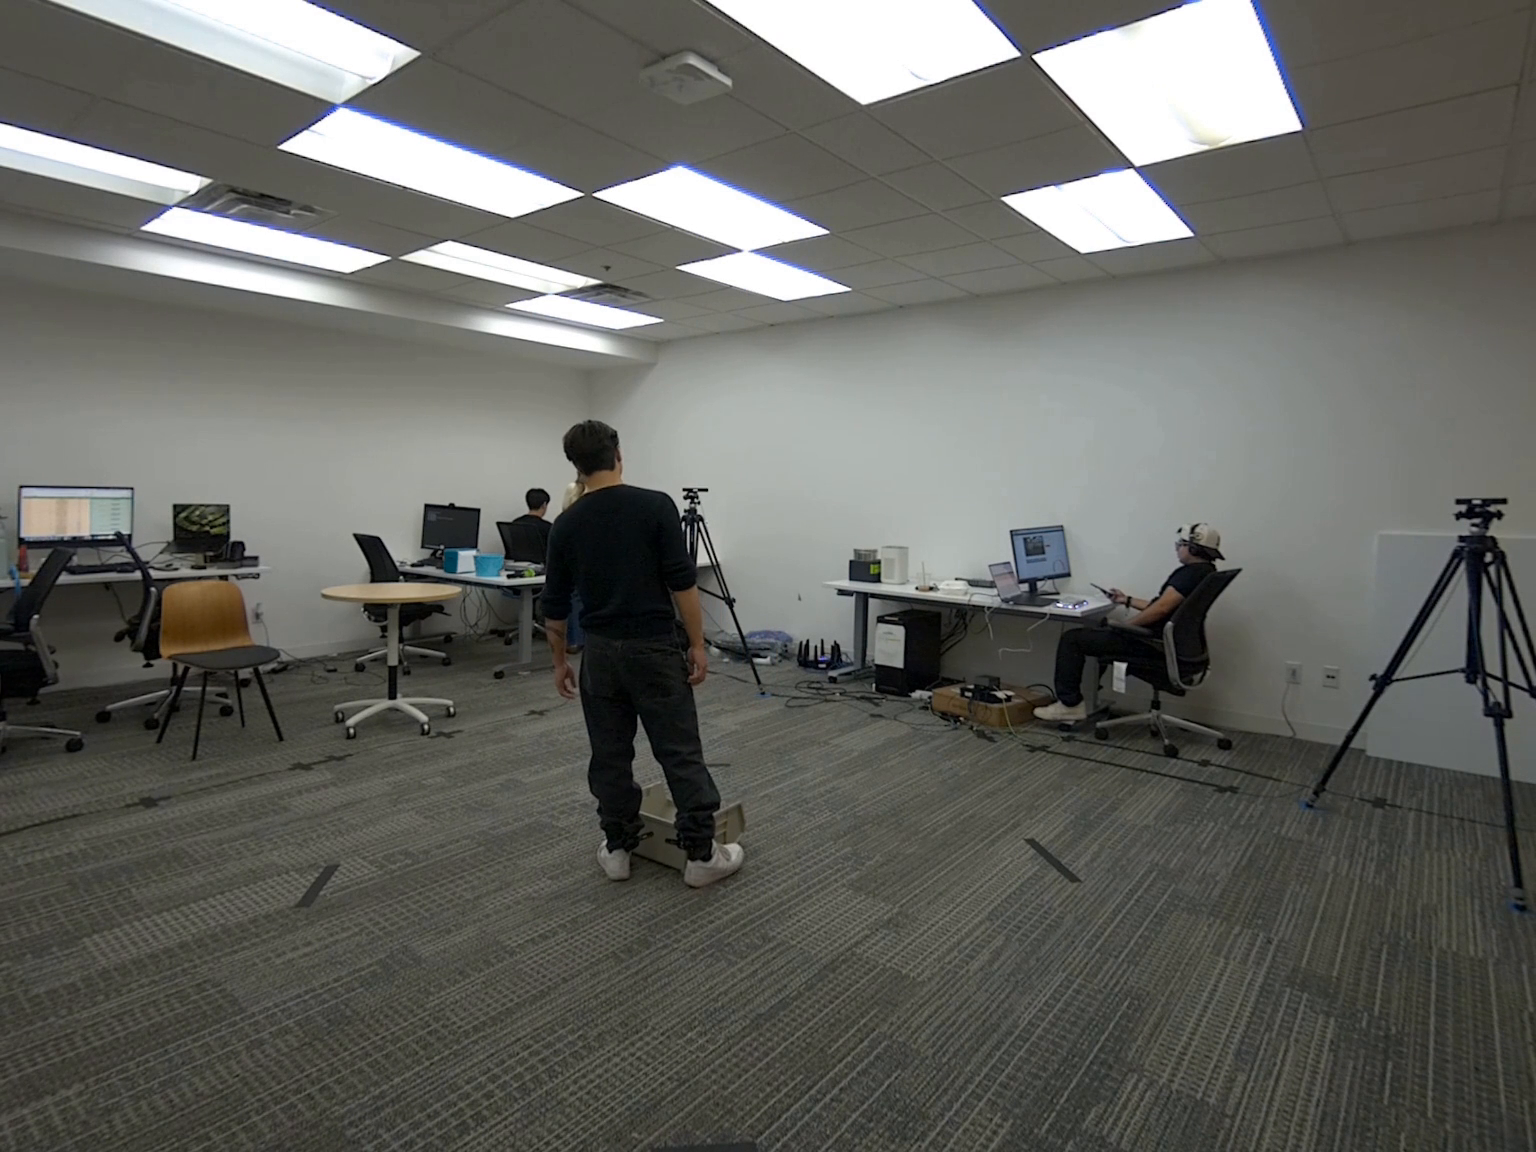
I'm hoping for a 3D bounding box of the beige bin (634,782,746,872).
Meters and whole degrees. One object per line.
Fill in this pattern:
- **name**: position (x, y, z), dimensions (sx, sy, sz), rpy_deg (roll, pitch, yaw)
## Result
- **beige bin**: position (-0.371, 0.959, 3.317), dimensions (0.436, 0.188, 0.367), rpy_deg (6, 9, 35)
